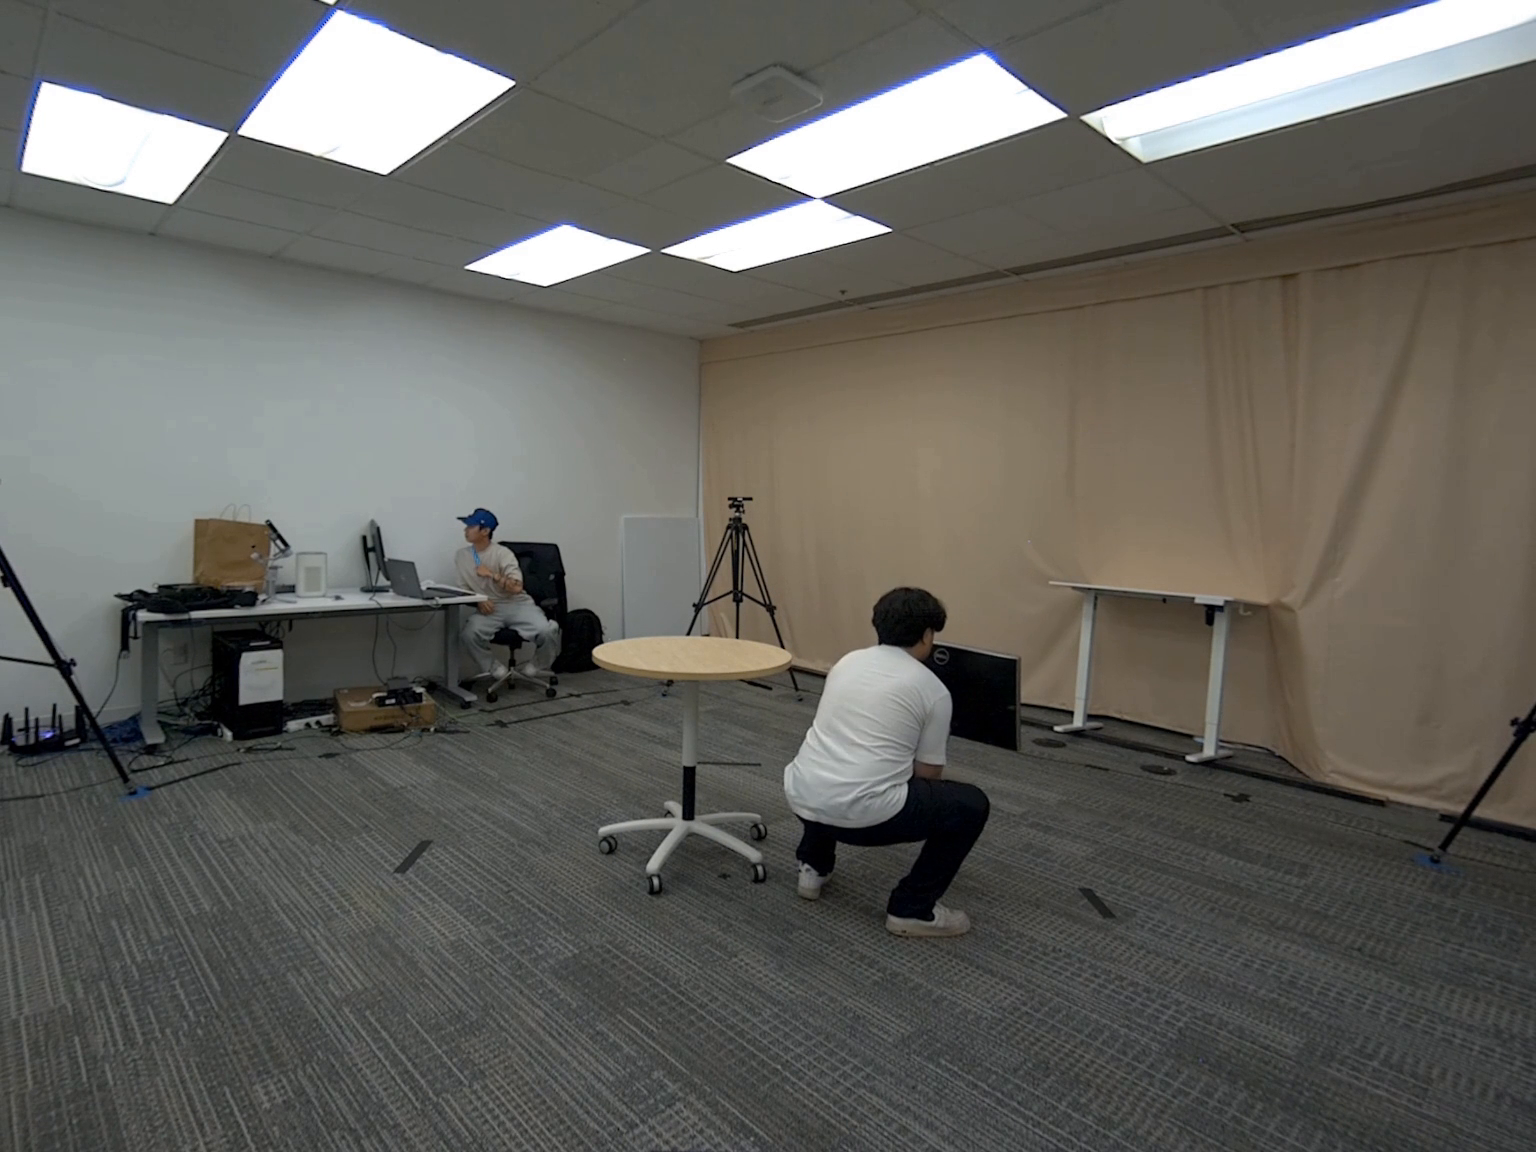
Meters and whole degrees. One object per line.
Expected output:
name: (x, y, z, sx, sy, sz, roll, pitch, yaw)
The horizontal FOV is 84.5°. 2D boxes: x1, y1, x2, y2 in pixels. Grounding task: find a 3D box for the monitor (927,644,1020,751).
monitor: (0.618, 0.519, 3.119, 0.580, 0.550, 0.206, 8, 13, 39)
